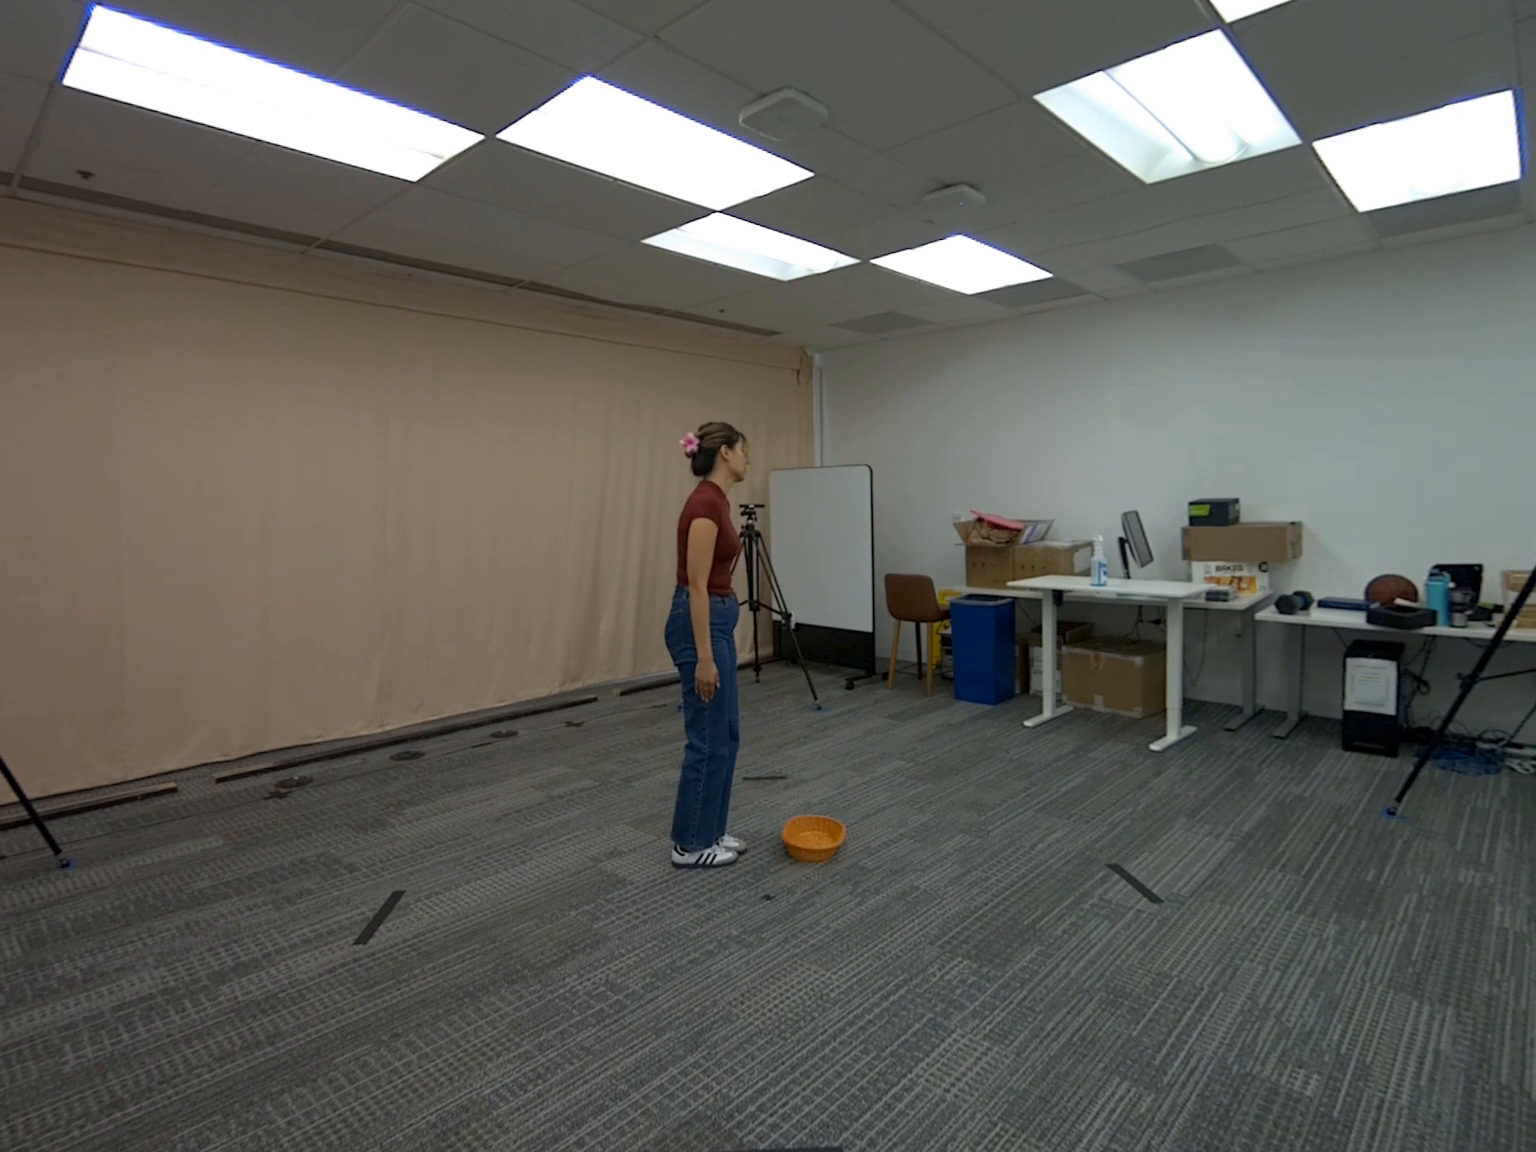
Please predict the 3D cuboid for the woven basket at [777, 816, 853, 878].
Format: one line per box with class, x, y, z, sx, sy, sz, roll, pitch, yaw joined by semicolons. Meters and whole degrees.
woven basket;0.192;1.076;3.394;0.256;0.073;0.346;3;6;12
